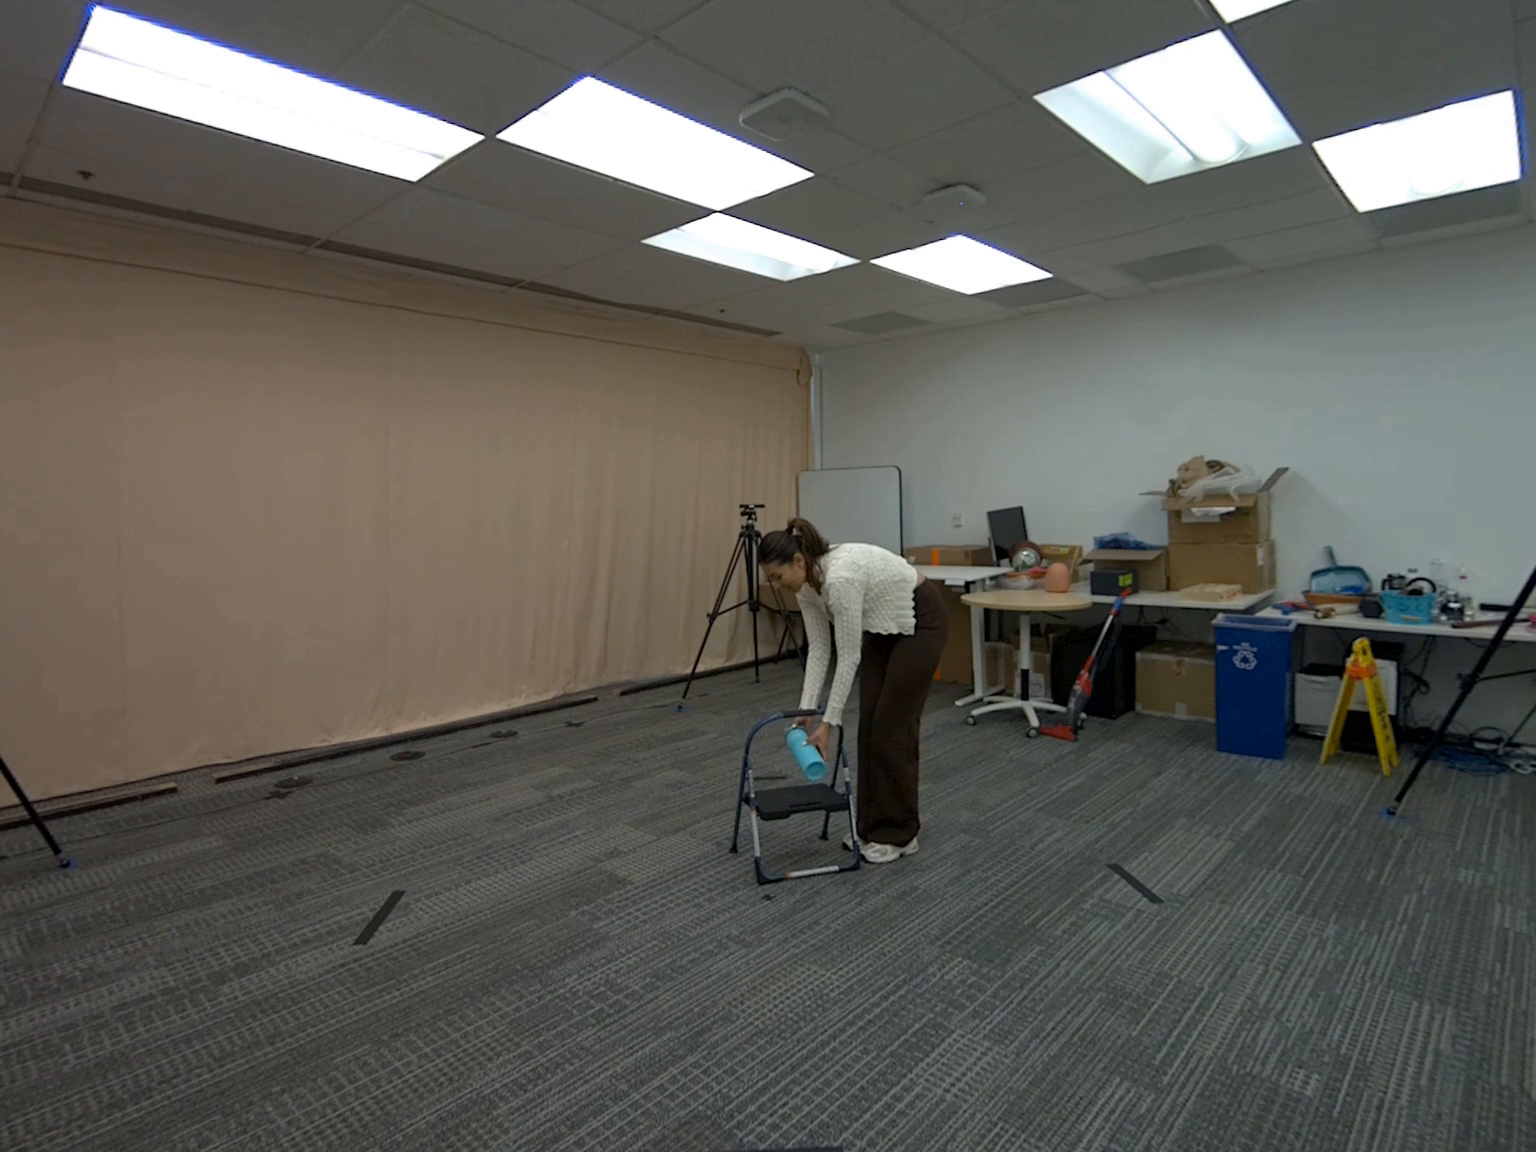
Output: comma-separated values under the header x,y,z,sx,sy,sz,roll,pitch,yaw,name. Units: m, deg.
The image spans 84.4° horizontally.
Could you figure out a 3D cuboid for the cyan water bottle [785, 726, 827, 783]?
x,y,z,sx,sy,sz,roll,pitch,yaw,name
0.127,0.654,3.200,0.091,0.091,0.291,-2,21,-17,cyan water bottle
